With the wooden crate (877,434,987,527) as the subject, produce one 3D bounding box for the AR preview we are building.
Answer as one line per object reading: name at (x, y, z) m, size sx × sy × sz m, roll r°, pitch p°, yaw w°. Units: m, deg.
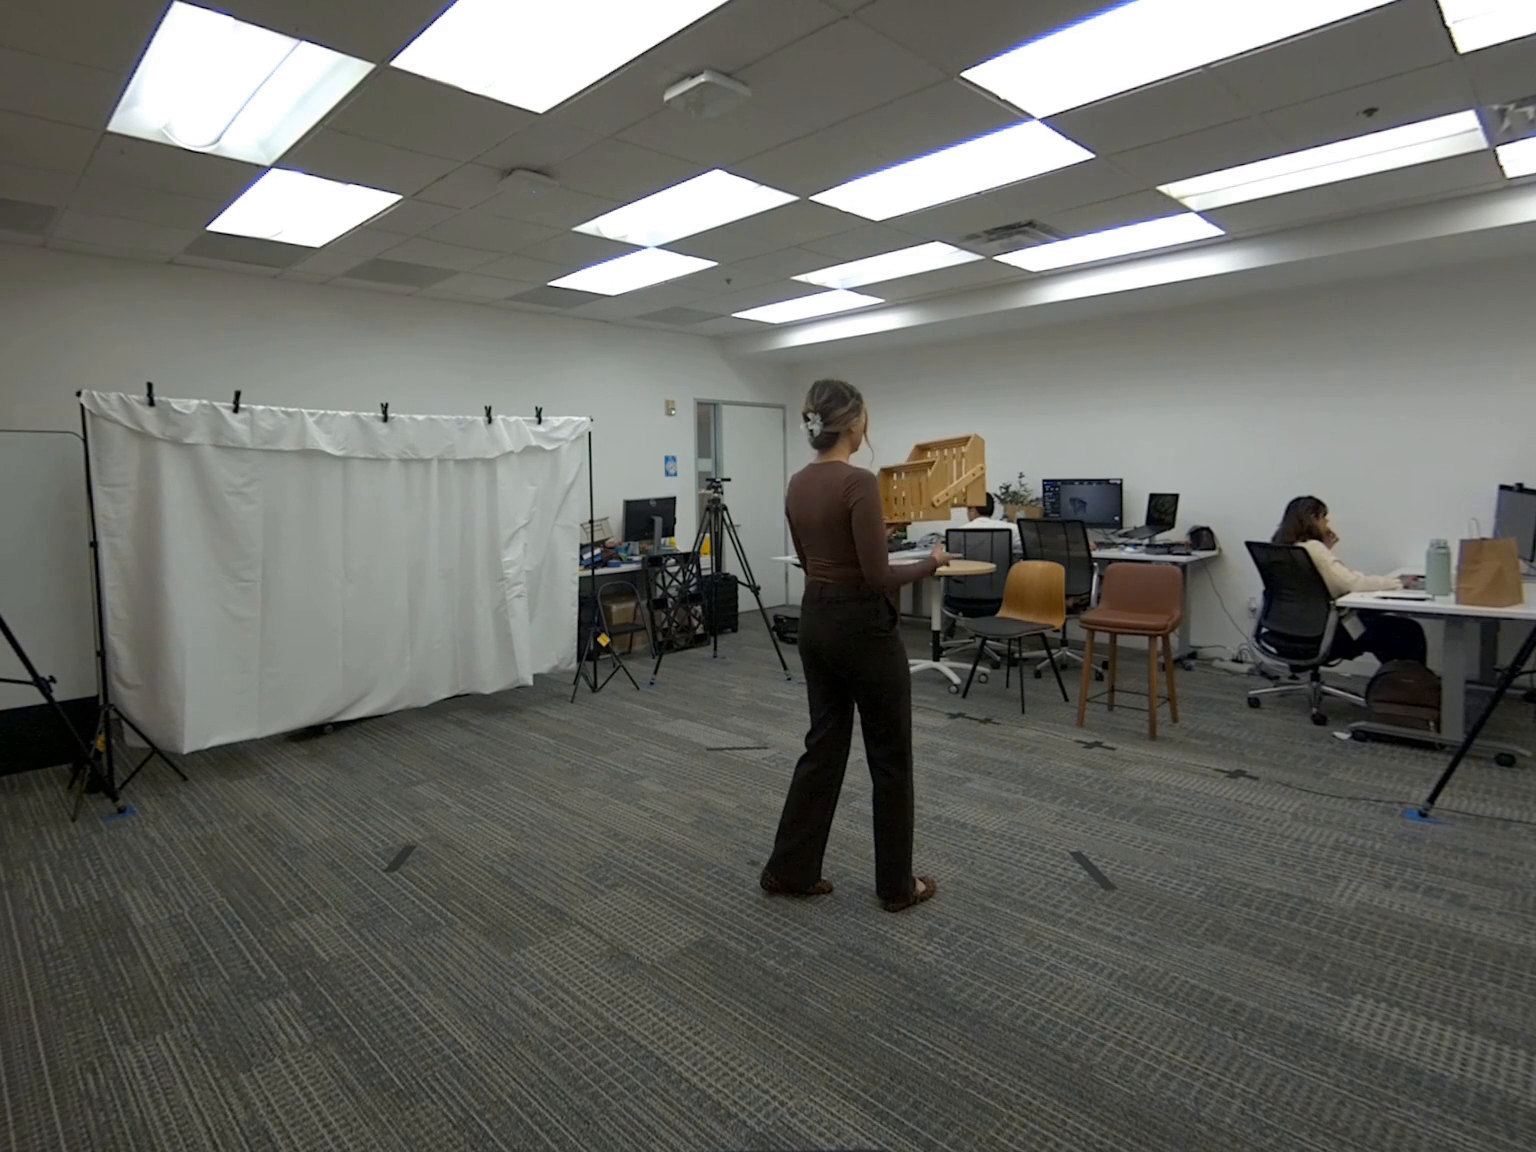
wooden crate at (0.560, -0.341, 3.022) m, size 0.266 × 0.302 × 0.332 m, roll -1°, pitch 0°, yaw -32°
